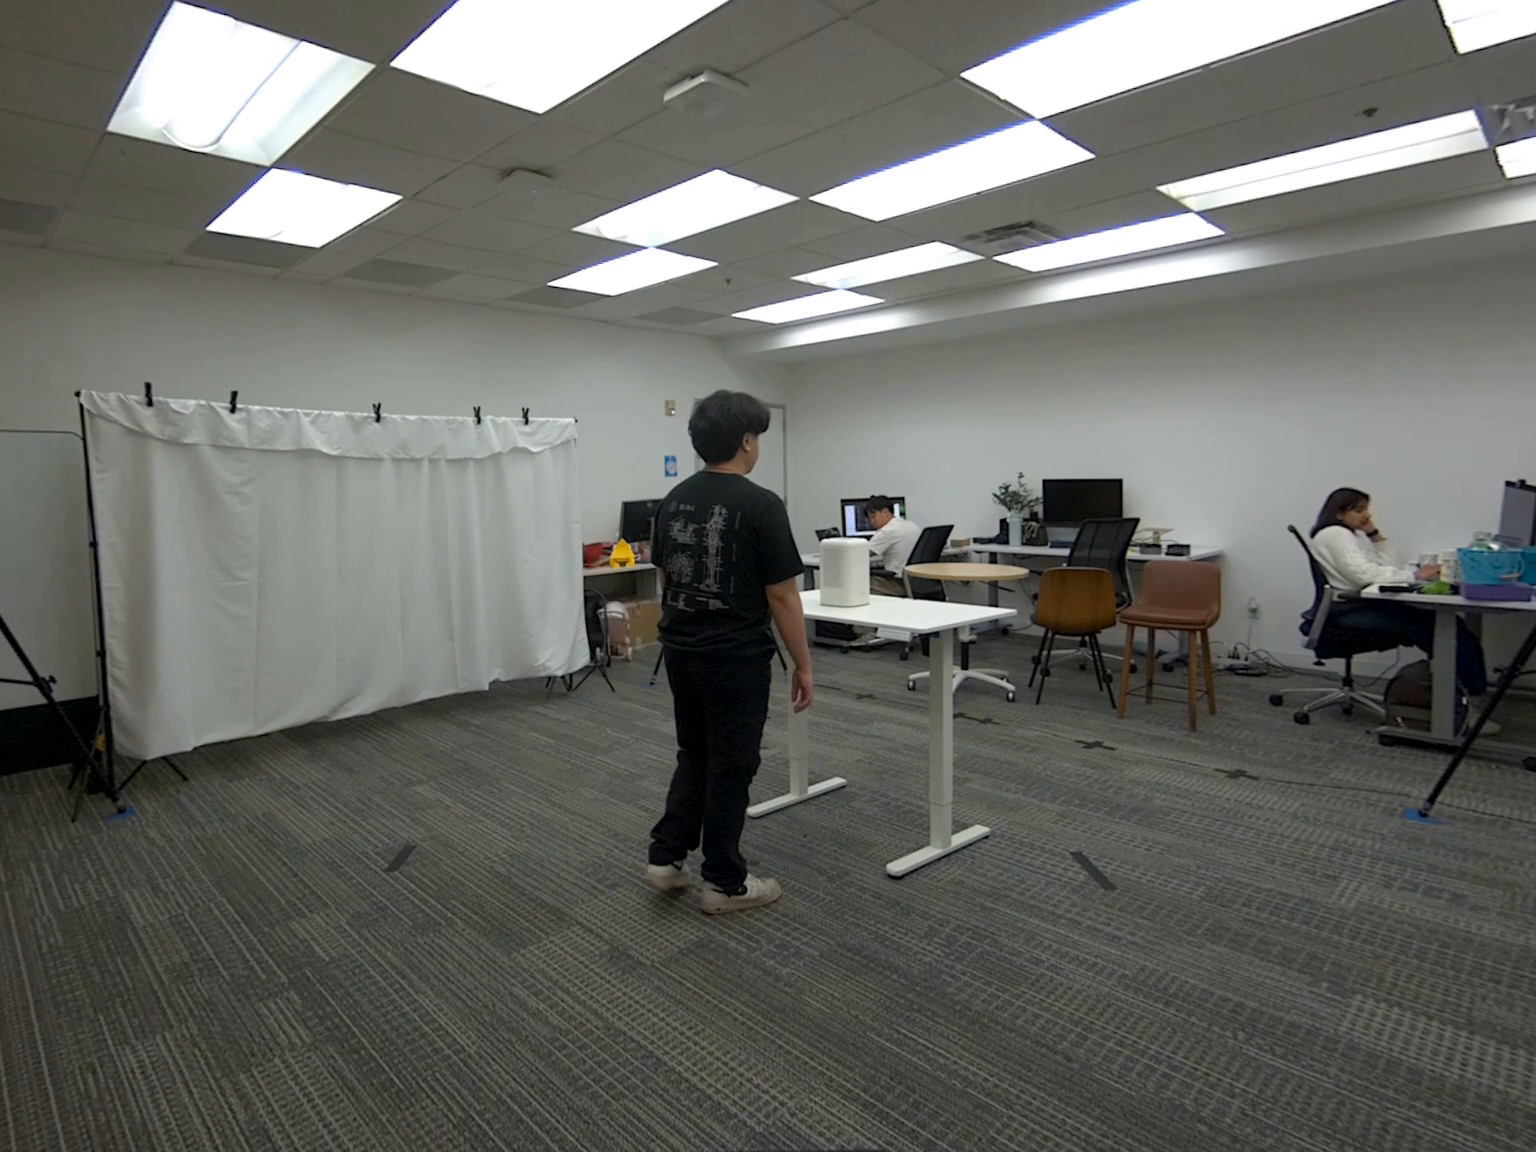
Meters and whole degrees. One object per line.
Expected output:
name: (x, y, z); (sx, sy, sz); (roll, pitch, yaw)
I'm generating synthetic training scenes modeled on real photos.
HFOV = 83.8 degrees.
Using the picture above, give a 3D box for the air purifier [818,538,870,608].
air purifier: (0.315, -0.019, 3.444); (0.177, 0.264, 0.166); (3, 5, 43)
